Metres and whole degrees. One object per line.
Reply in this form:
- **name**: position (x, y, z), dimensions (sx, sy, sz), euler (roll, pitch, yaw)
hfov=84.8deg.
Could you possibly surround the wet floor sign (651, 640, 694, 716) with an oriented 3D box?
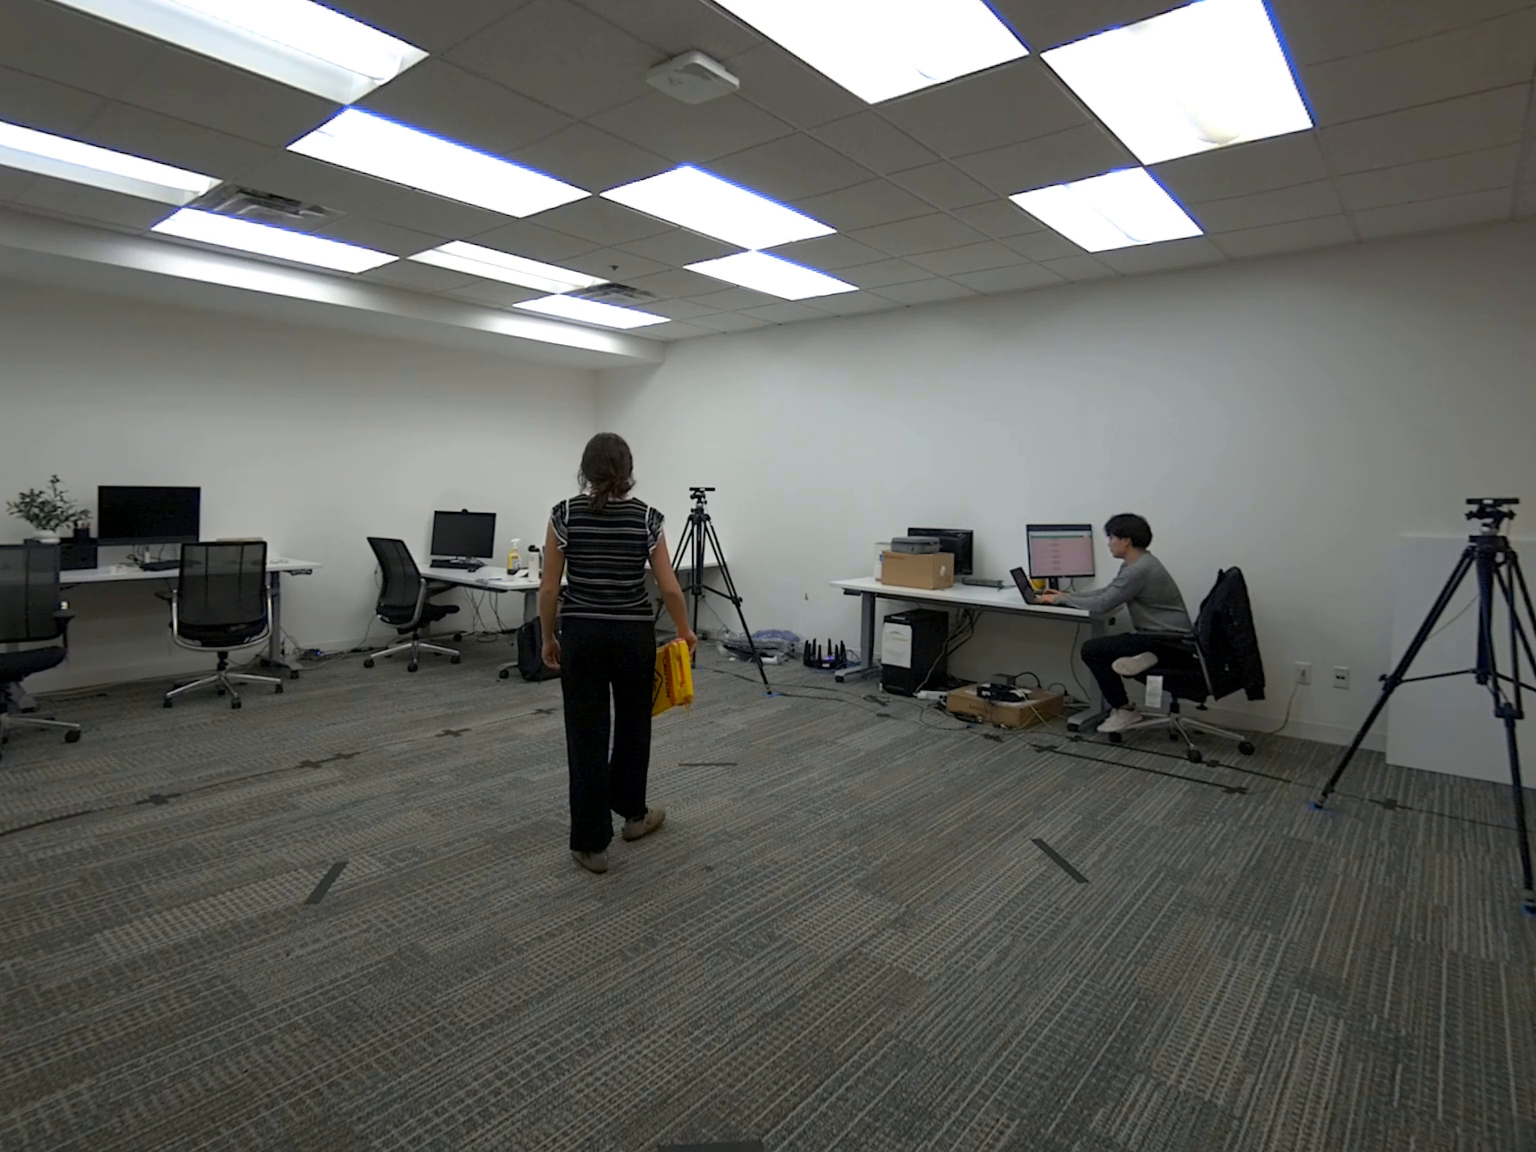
- **wet floor sign**: position (-0.384, 0.402, 3.338), dimensions (0.285, 0.287, 0.646), euler (-3, -14, -17)
